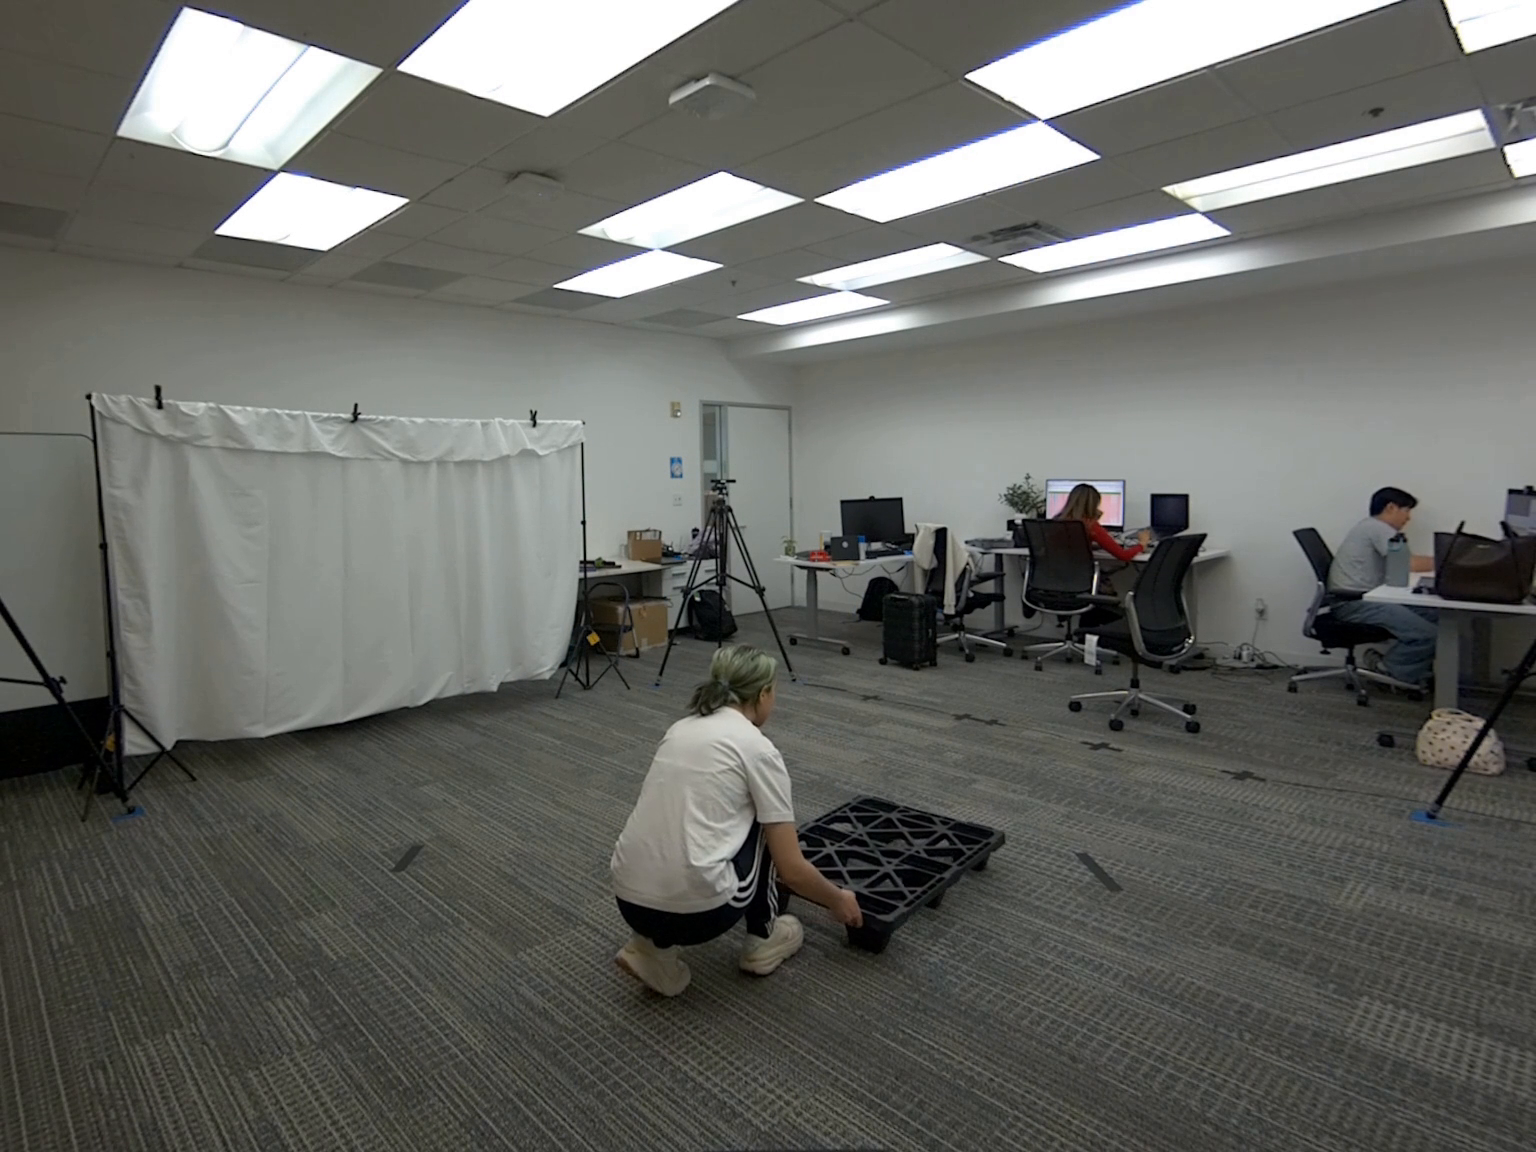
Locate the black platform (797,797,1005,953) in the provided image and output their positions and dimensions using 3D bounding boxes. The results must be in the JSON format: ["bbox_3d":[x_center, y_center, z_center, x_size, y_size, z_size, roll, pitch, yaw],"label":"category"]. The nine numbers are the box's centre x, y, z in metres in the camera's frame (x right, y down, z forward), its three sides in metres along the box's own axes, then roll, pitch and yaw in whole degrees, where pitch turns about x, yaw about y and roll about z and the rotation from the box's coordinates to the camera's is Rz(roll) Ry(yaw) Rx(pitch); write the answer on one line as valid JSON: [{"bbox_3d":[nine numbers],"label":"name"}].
[{"bbox_3d":[0.374,0.994,2.932,0.624,0.142,0.785,5,9,39],"label":"black platform"}]
